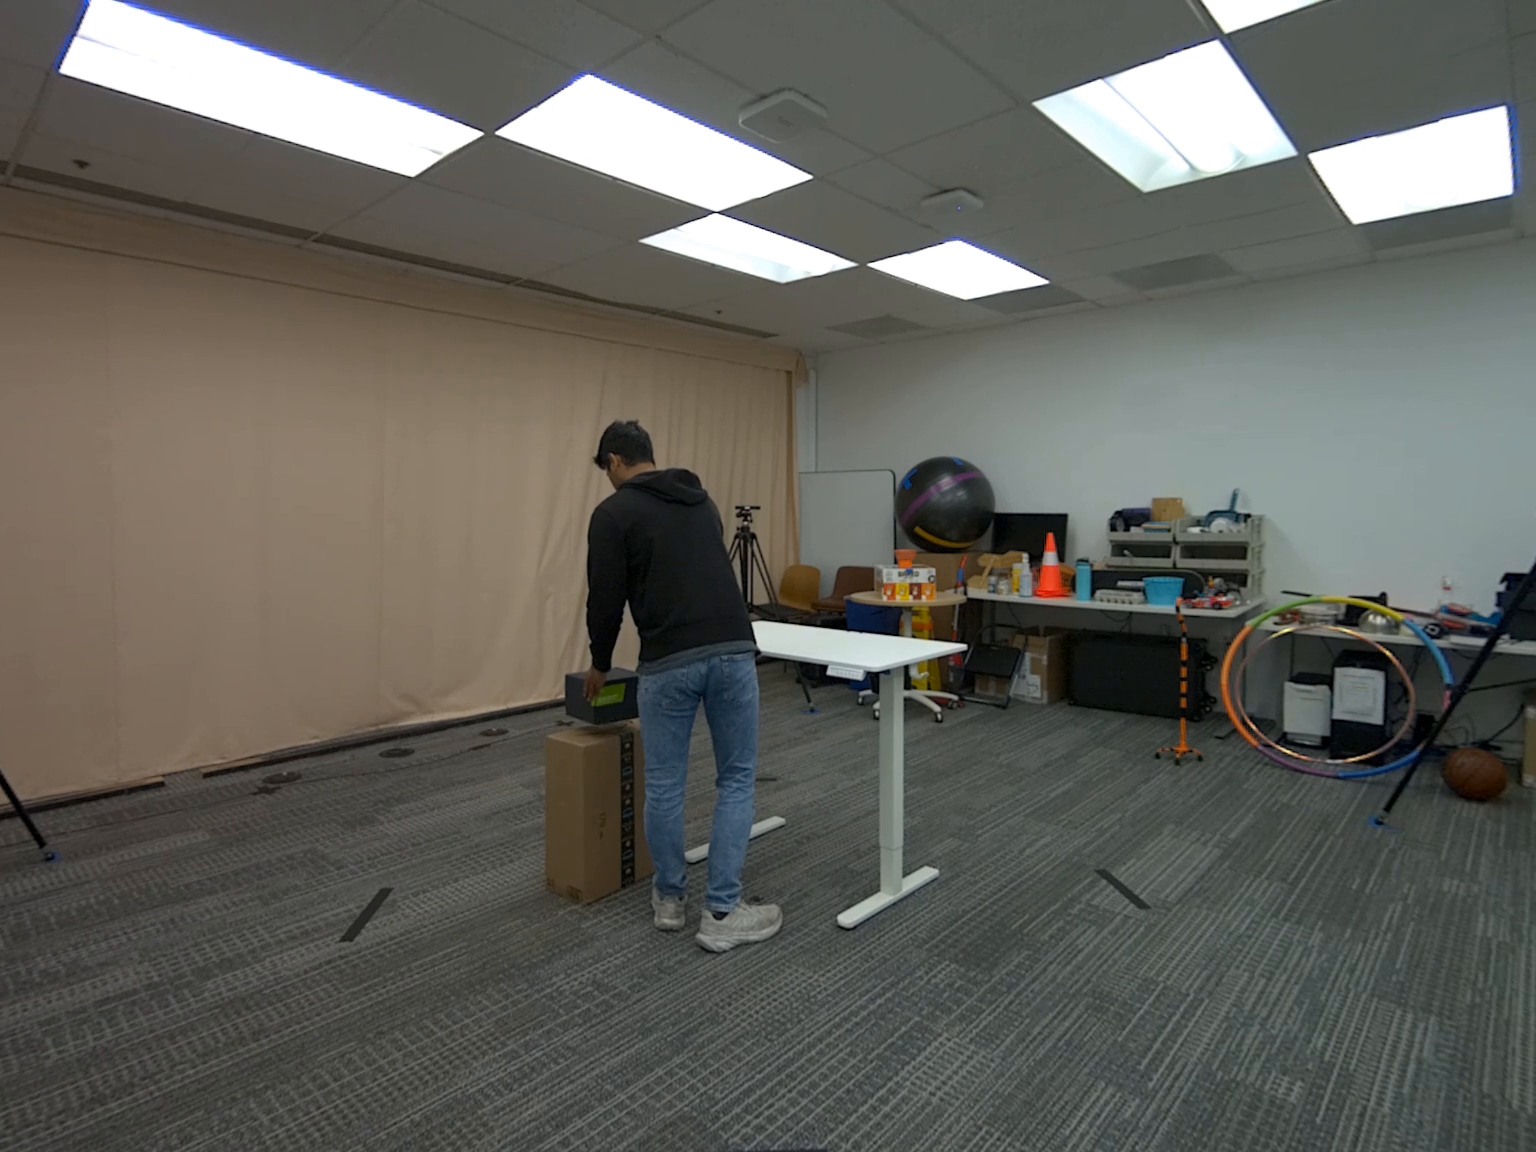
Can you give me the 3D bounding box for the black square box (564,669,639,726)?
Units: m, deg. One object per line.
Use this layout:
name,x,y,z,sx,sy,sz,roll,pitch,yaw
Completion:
black square box,-0.600,0.438,3.132,0.221,0.155,0.224,-3,4,-42
